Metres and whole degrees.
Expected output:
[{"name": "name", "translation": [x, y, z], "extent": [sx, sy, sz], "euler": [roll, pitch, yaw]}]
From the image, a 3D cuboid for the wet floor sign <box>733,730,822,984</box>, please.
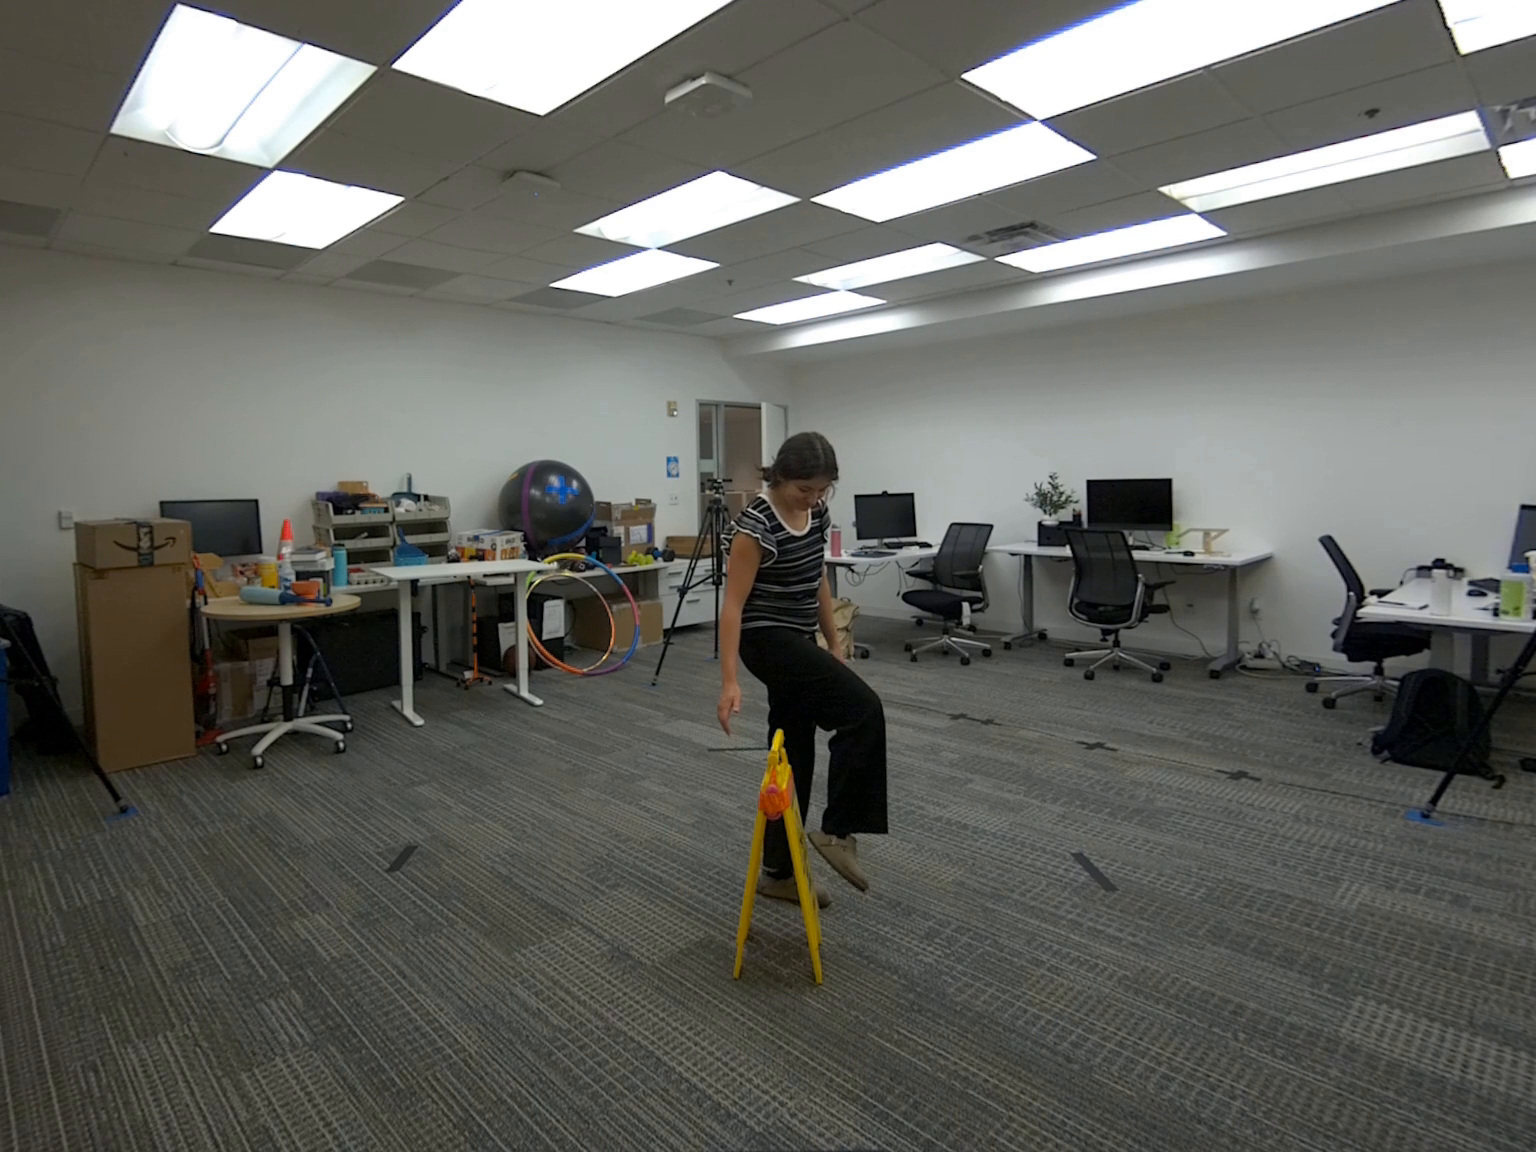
[{"name": "wet floor sign", "translation": [0.031, 0.793, 2.479], "extent": [0.292, 0.644, 0.281], "euler": [-2, 3, 7]}]
